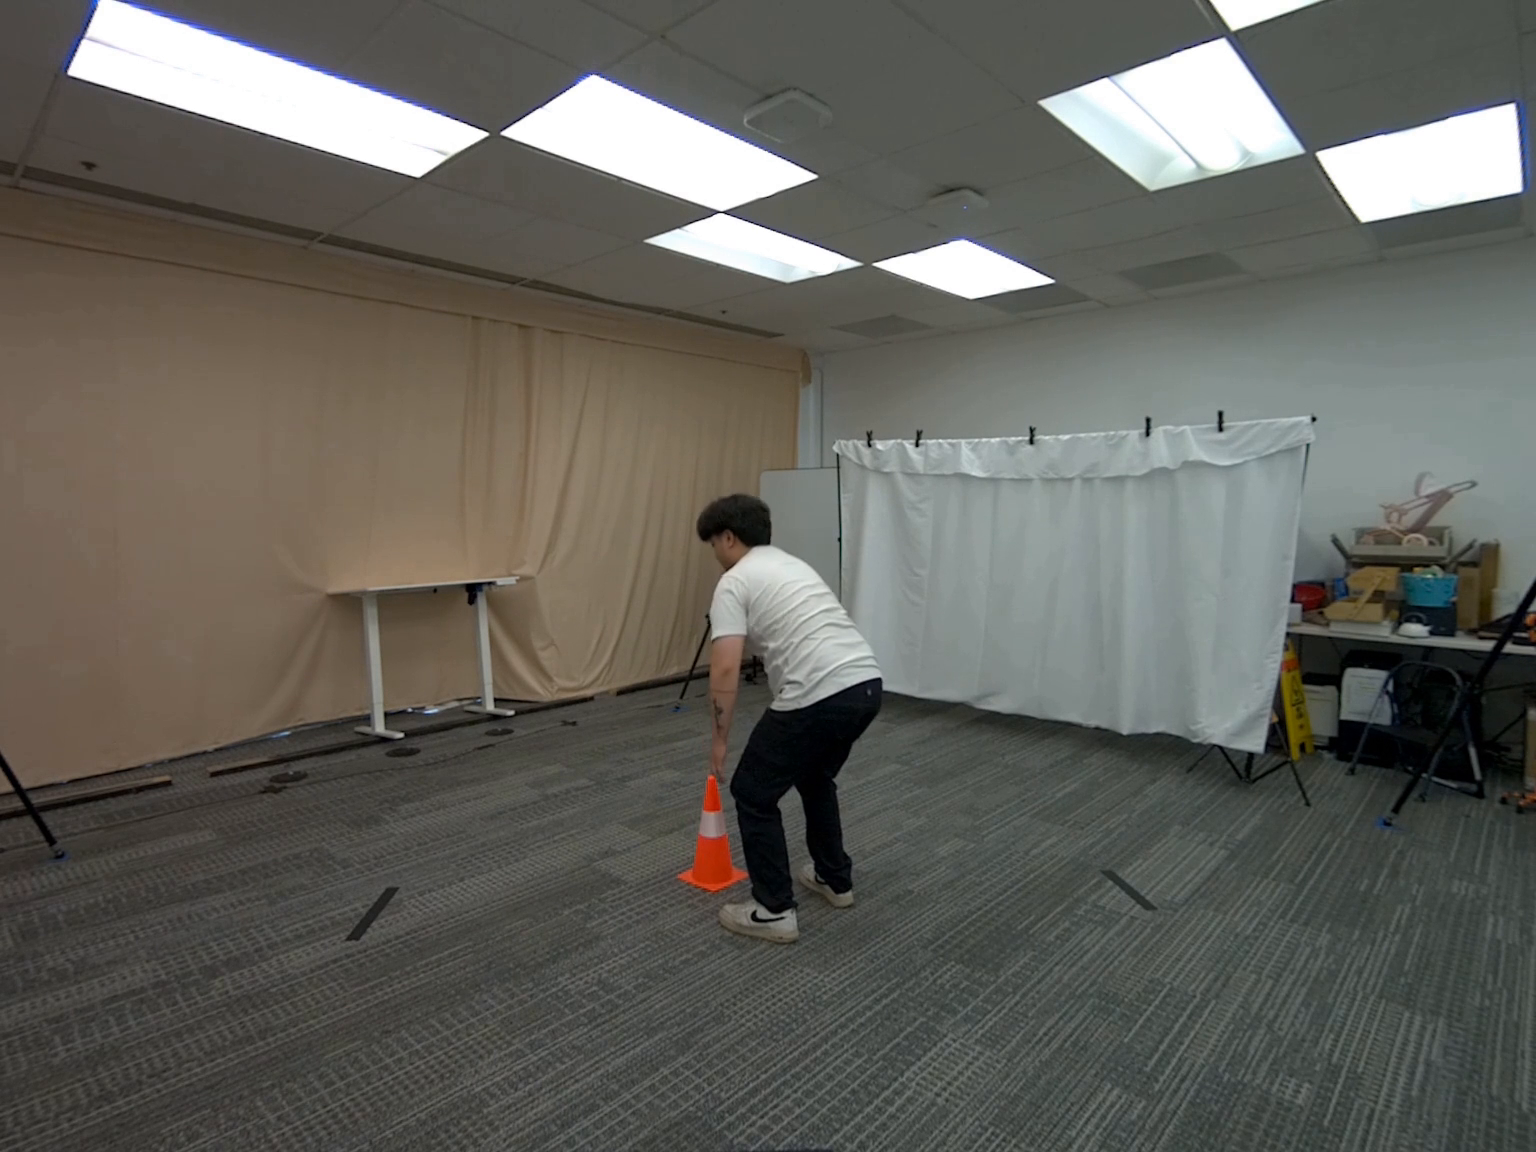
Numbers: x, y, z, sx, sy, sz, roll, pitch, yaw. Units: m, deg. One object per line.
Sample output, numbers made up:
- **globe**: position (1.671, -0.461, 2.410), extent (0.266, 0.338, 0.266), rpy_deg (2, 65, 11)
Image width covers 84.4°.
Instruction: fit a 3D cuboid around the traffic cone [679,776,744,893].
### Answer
- **traffic cone**: position (-0.213, 0.945, 3.152), extent (0.210, 0.382, 0.199), rpy_deg (1, 5, 35)
